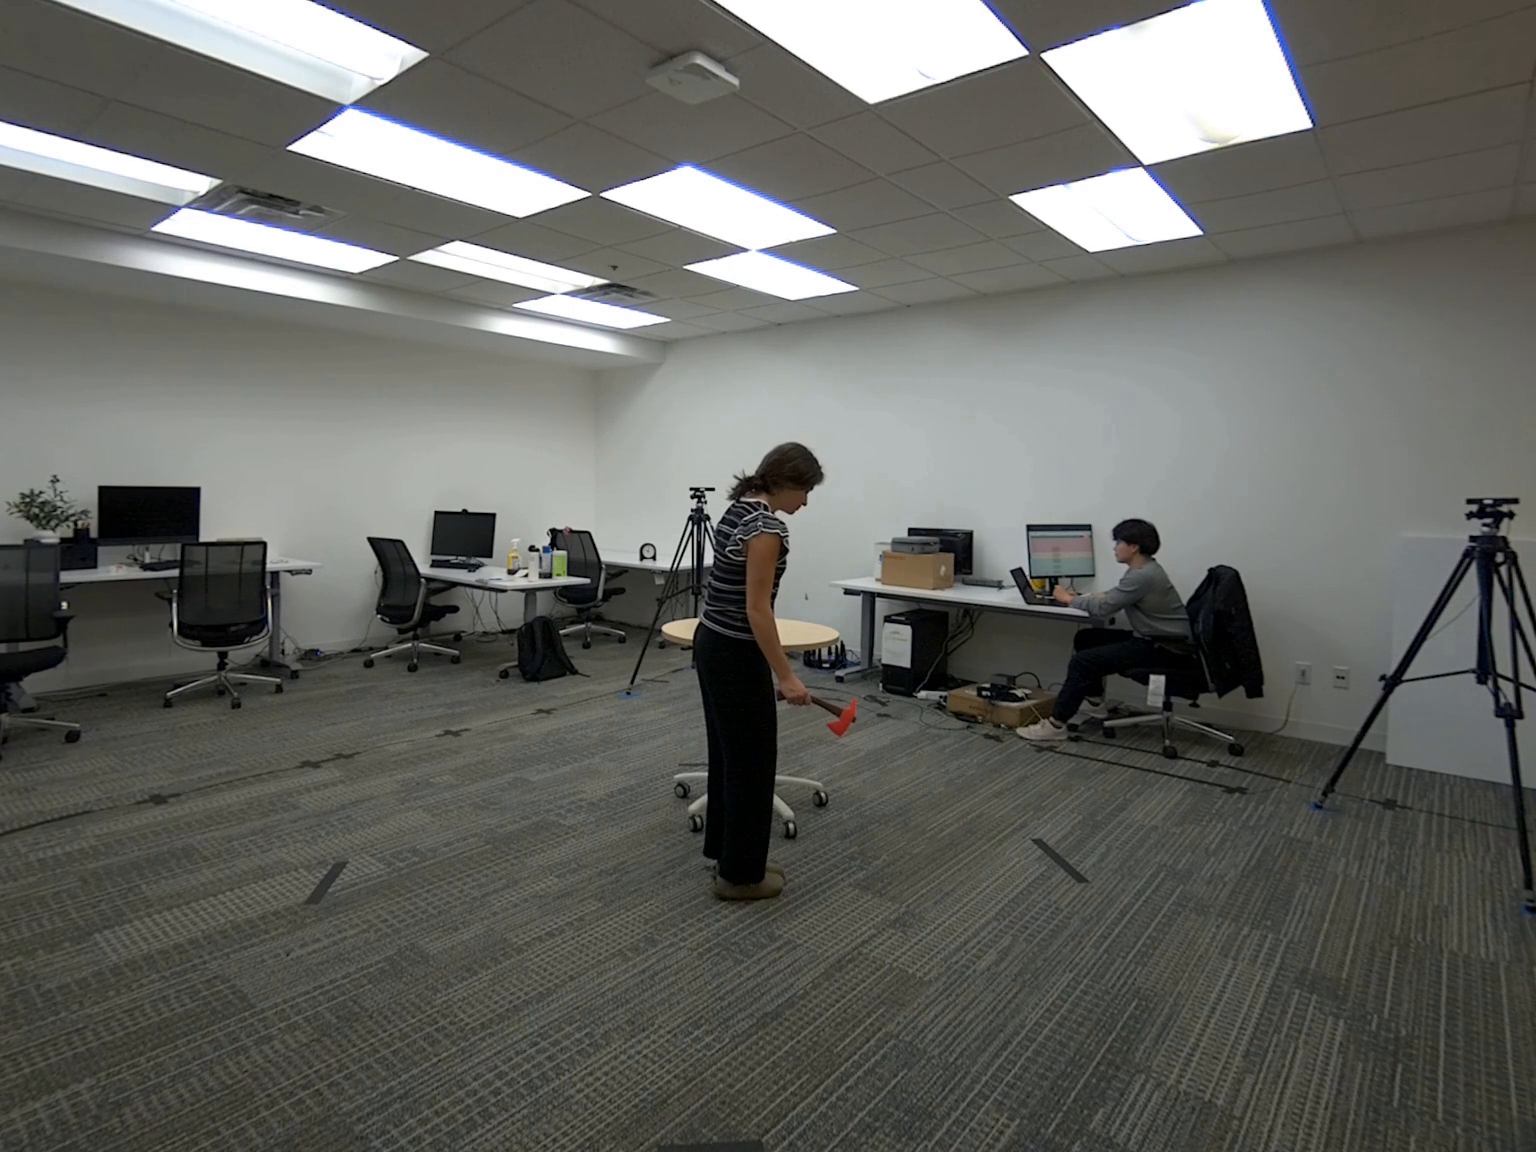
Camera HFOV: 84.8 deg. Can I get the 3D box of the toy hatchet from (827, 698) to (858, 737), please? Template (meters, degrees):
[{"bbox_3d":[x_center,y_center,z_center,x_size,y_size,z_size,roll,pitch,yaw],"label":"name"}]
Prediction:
[{"bbox_3d":[0.146,0.453,2.764,0.269,0.133,0.029,6,-16,-3],"label":"toy hatchet"}]
